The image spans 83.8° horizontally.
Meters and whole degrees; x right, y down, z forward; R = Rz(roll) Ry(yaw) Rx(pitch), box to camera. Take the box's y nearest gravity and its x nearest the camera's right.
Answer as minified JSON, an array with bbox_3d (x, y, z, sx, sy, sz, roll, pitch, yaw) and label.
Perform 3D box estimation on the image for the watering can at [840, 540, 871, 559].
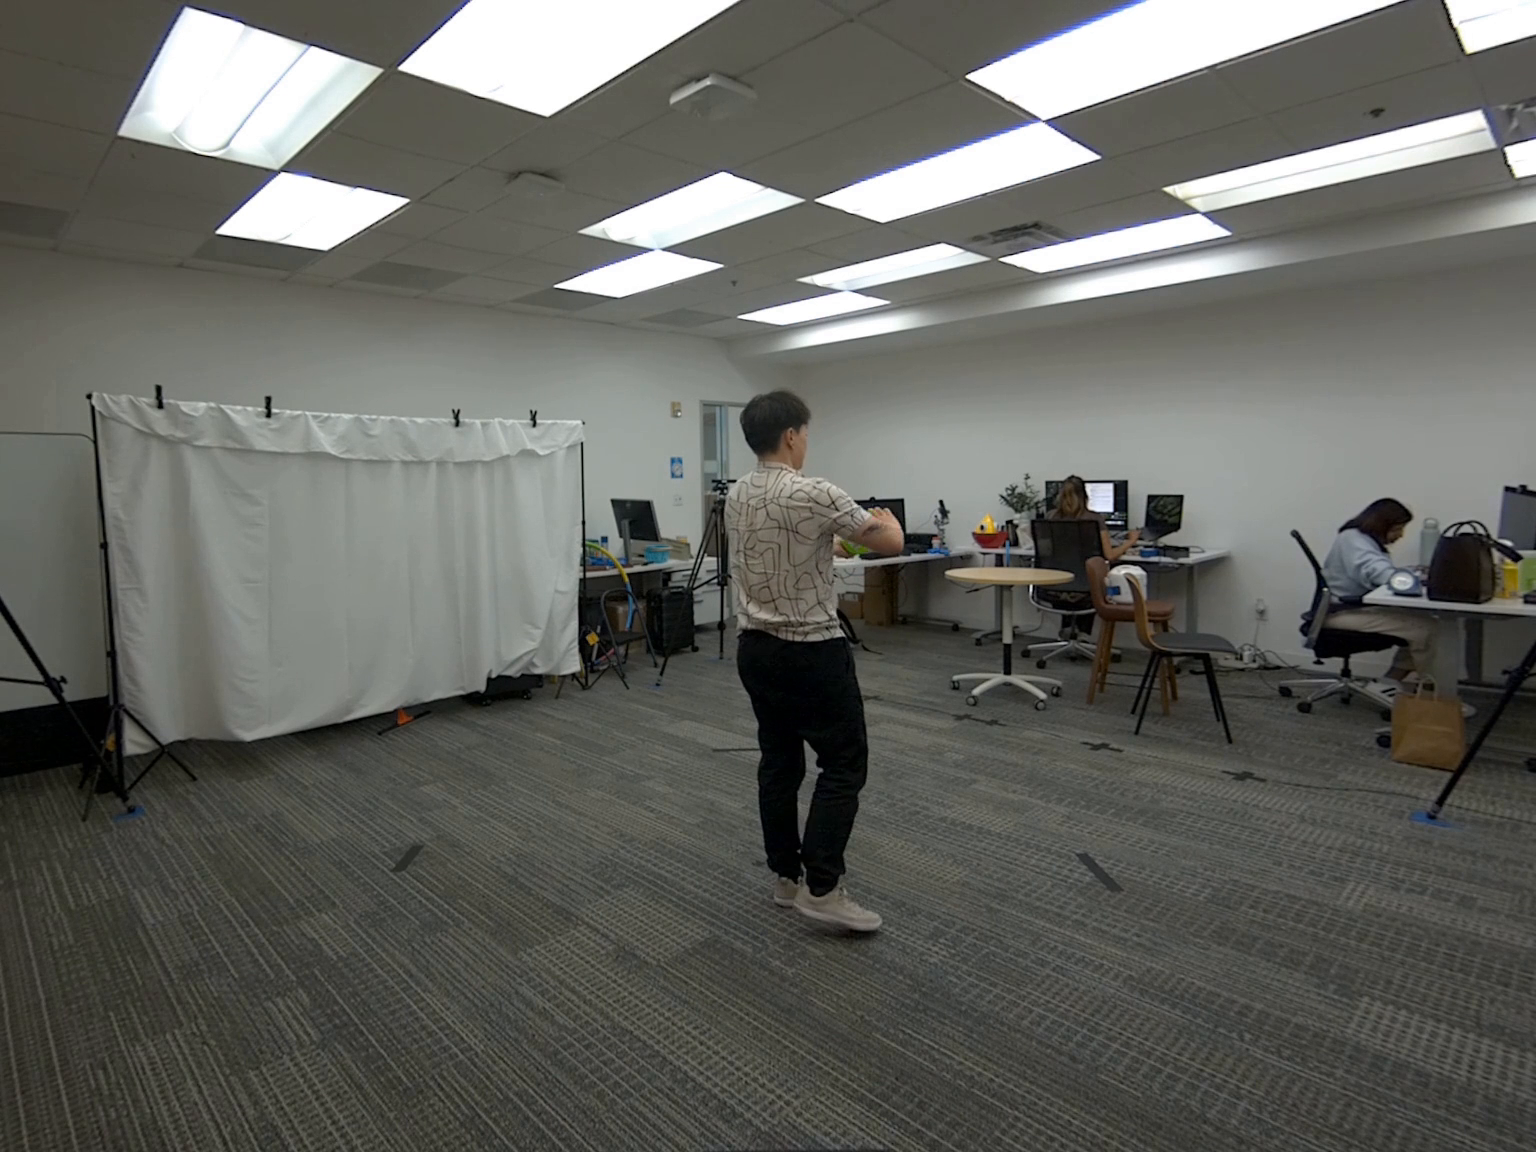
[{"bbox_3d":[0.357,-0.145,3.125,0.176,0.099,0.276,-46,-5,-34],"label":"watering can"}]
